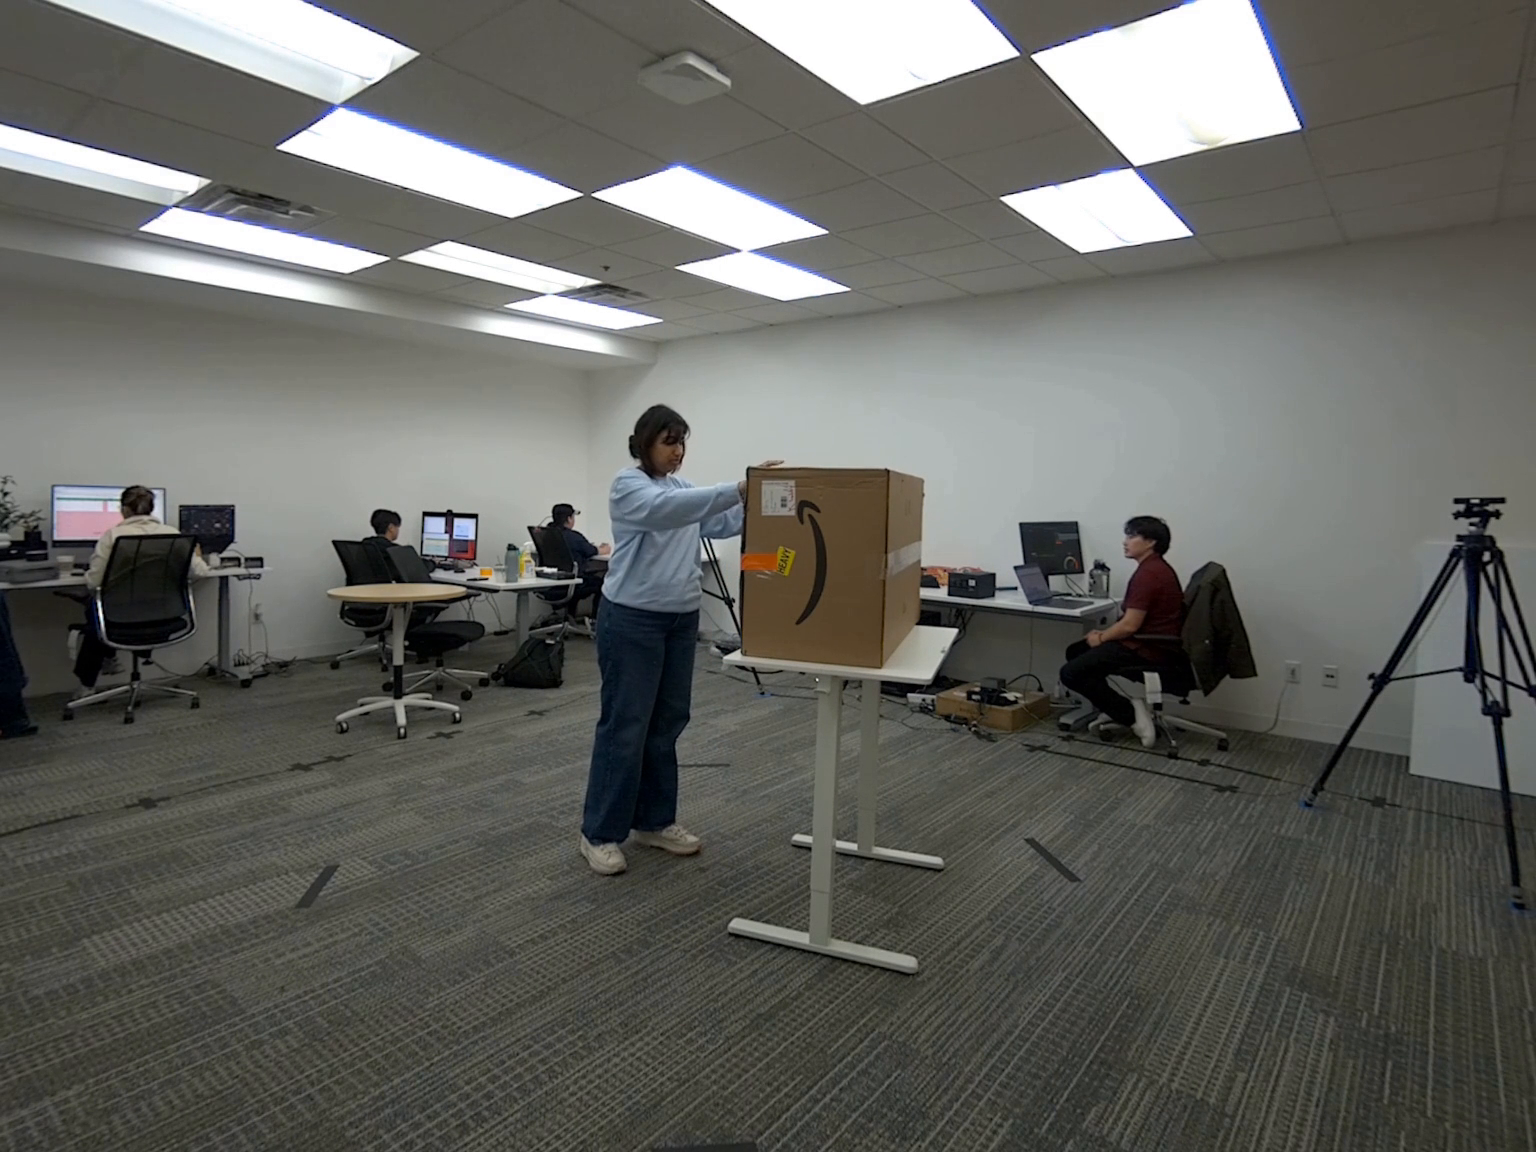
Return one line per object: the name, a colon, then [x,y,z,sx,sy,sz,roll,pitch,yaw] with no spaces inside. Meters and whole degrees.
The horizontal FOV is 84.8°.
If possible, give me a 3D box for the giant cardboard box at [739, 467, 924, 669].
giant cardboard box: [0.255,-0.076,2.955,0.434,0.576,1.009,2,4,17]
